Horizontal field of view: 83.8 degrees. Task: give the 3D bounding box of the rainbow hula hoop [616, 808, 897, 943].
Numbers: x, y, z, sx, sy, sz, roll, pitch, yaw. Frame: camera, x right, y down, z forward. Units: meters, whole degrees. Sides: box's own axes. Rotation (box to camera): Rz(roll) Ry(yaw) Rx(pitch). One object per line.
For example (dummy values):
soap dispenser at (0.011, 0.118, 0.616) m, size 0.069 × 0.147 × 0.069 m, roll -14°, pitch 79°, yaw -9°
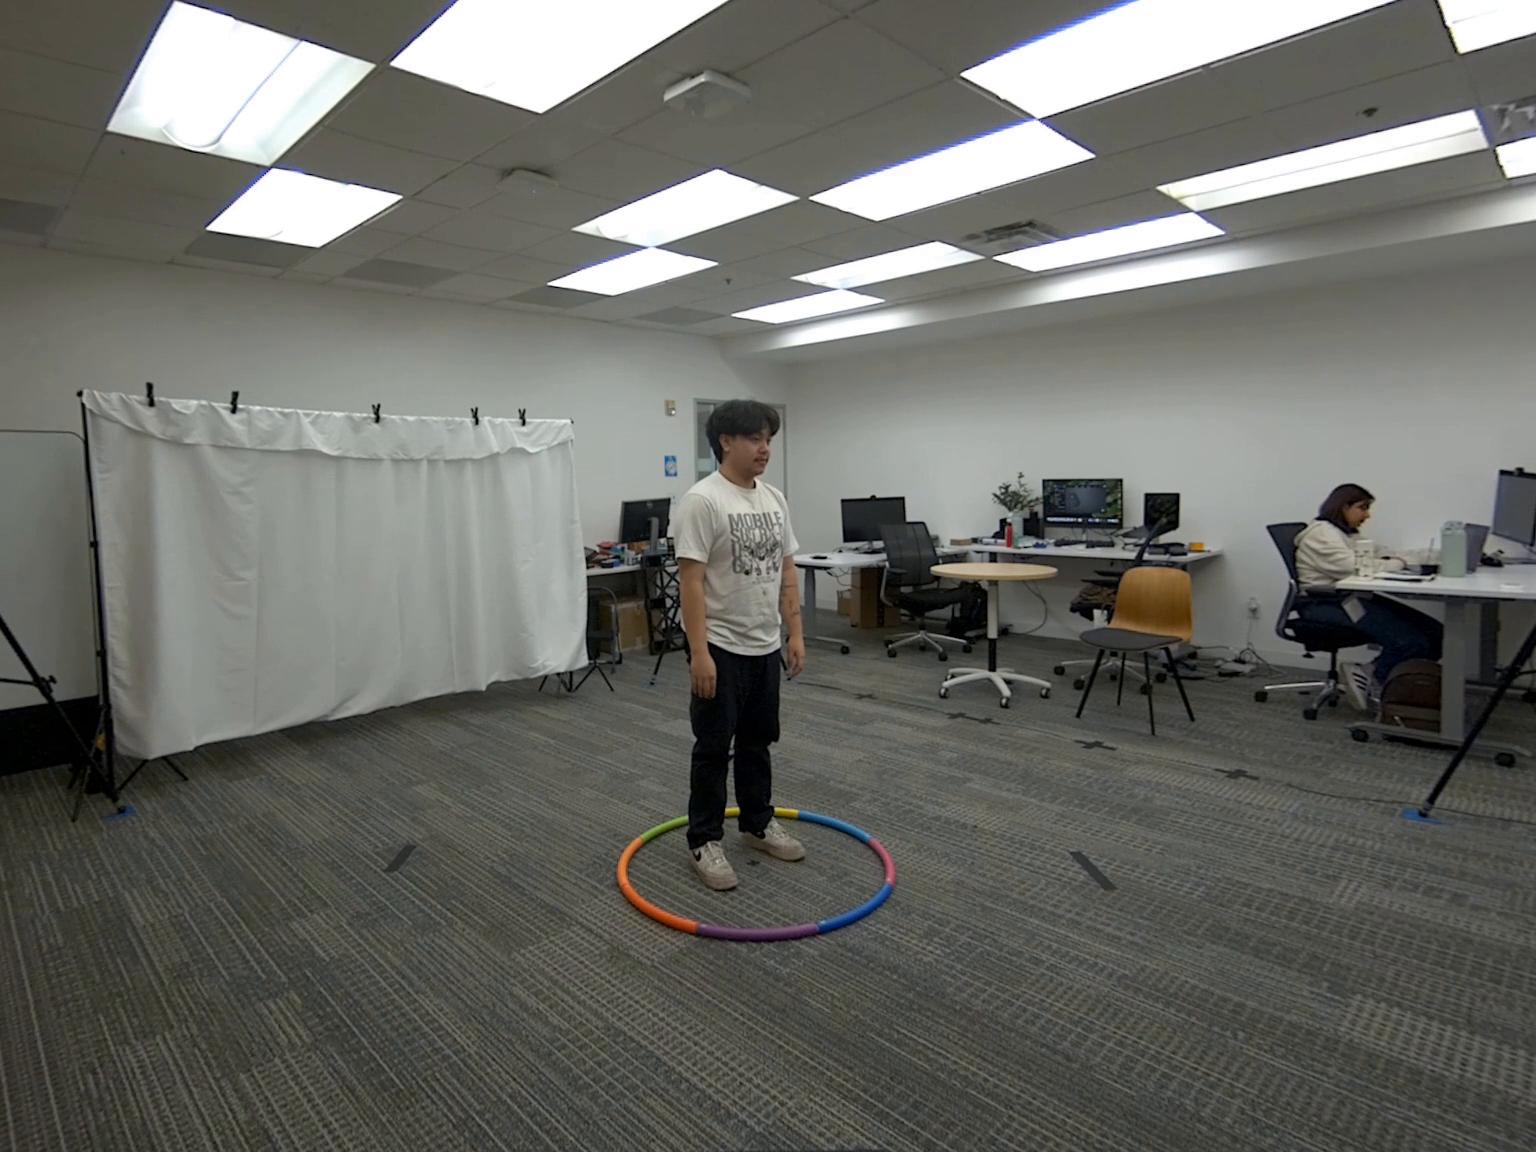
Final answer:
rainbow hula hoop at (-0.047, 1.020, 3.062) m, size 0.985 × 0.051 × 0.991 m, roll -1°, pitch 7°, yaw -2°
